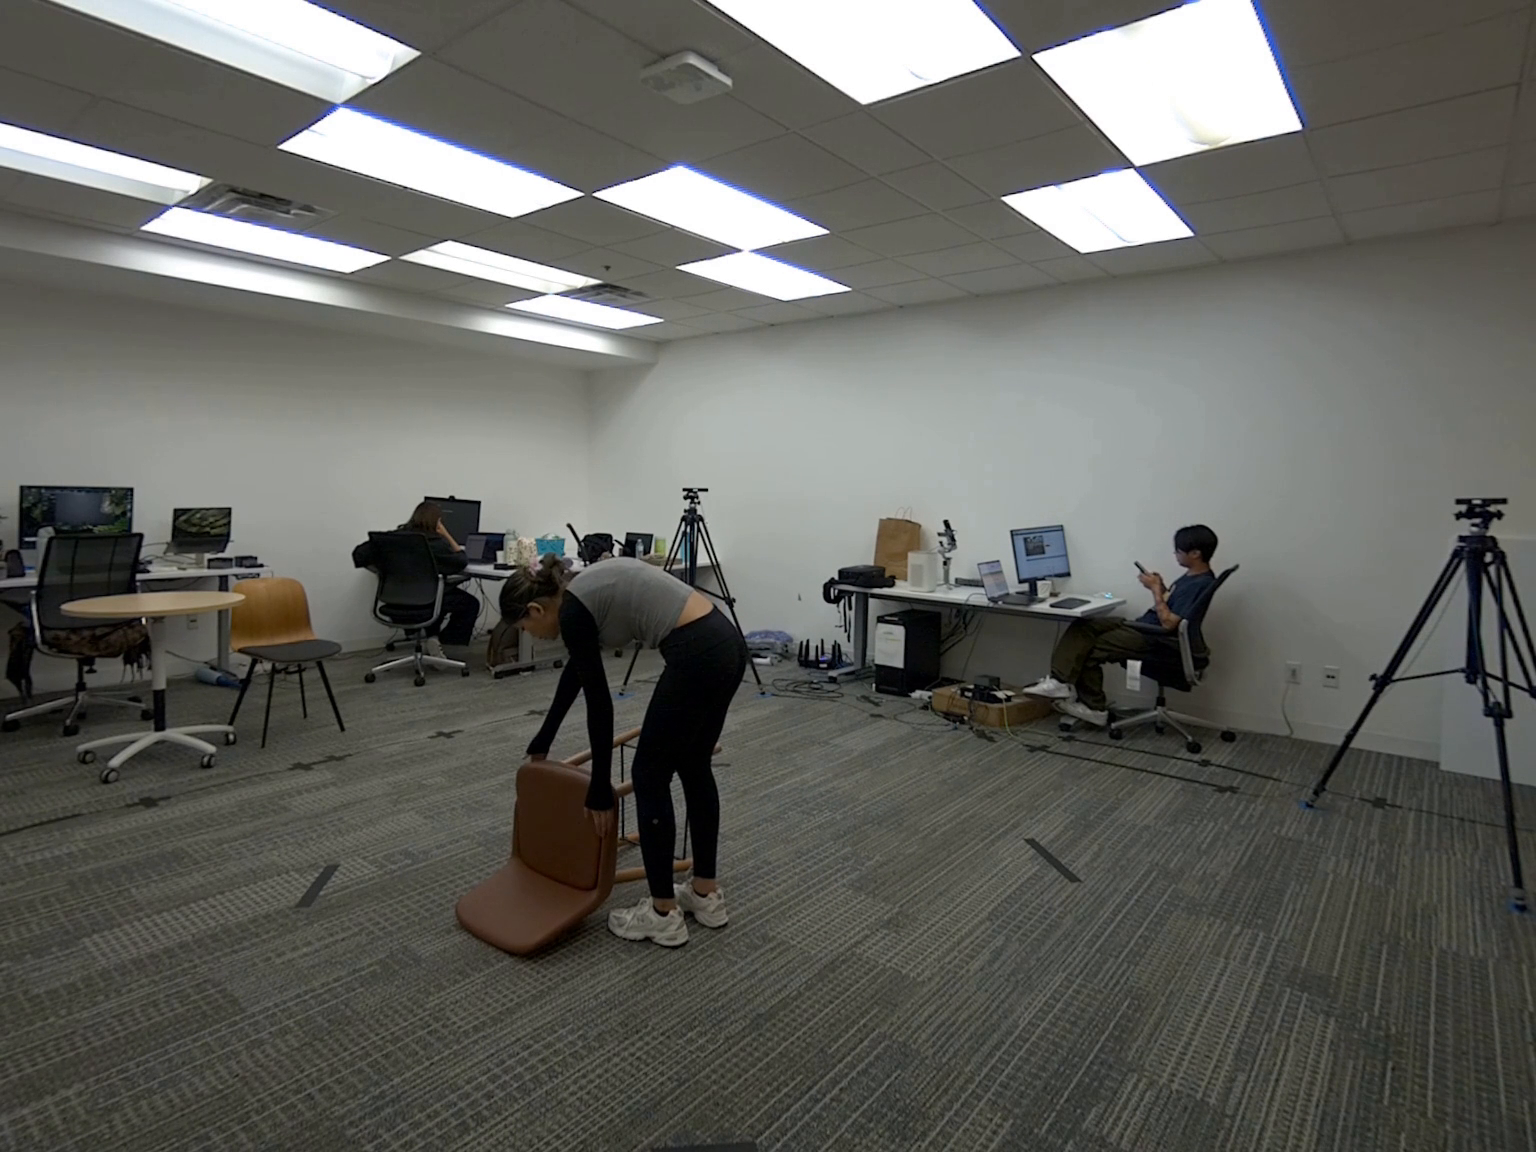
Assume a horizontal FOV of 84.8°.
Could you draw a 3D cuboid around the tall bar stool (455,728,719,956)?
[{"bbox_3d":[-0.605,0.853,2.914,0.471,0.466,0.864,5,6,36],"label":"tall bar stool"}]
